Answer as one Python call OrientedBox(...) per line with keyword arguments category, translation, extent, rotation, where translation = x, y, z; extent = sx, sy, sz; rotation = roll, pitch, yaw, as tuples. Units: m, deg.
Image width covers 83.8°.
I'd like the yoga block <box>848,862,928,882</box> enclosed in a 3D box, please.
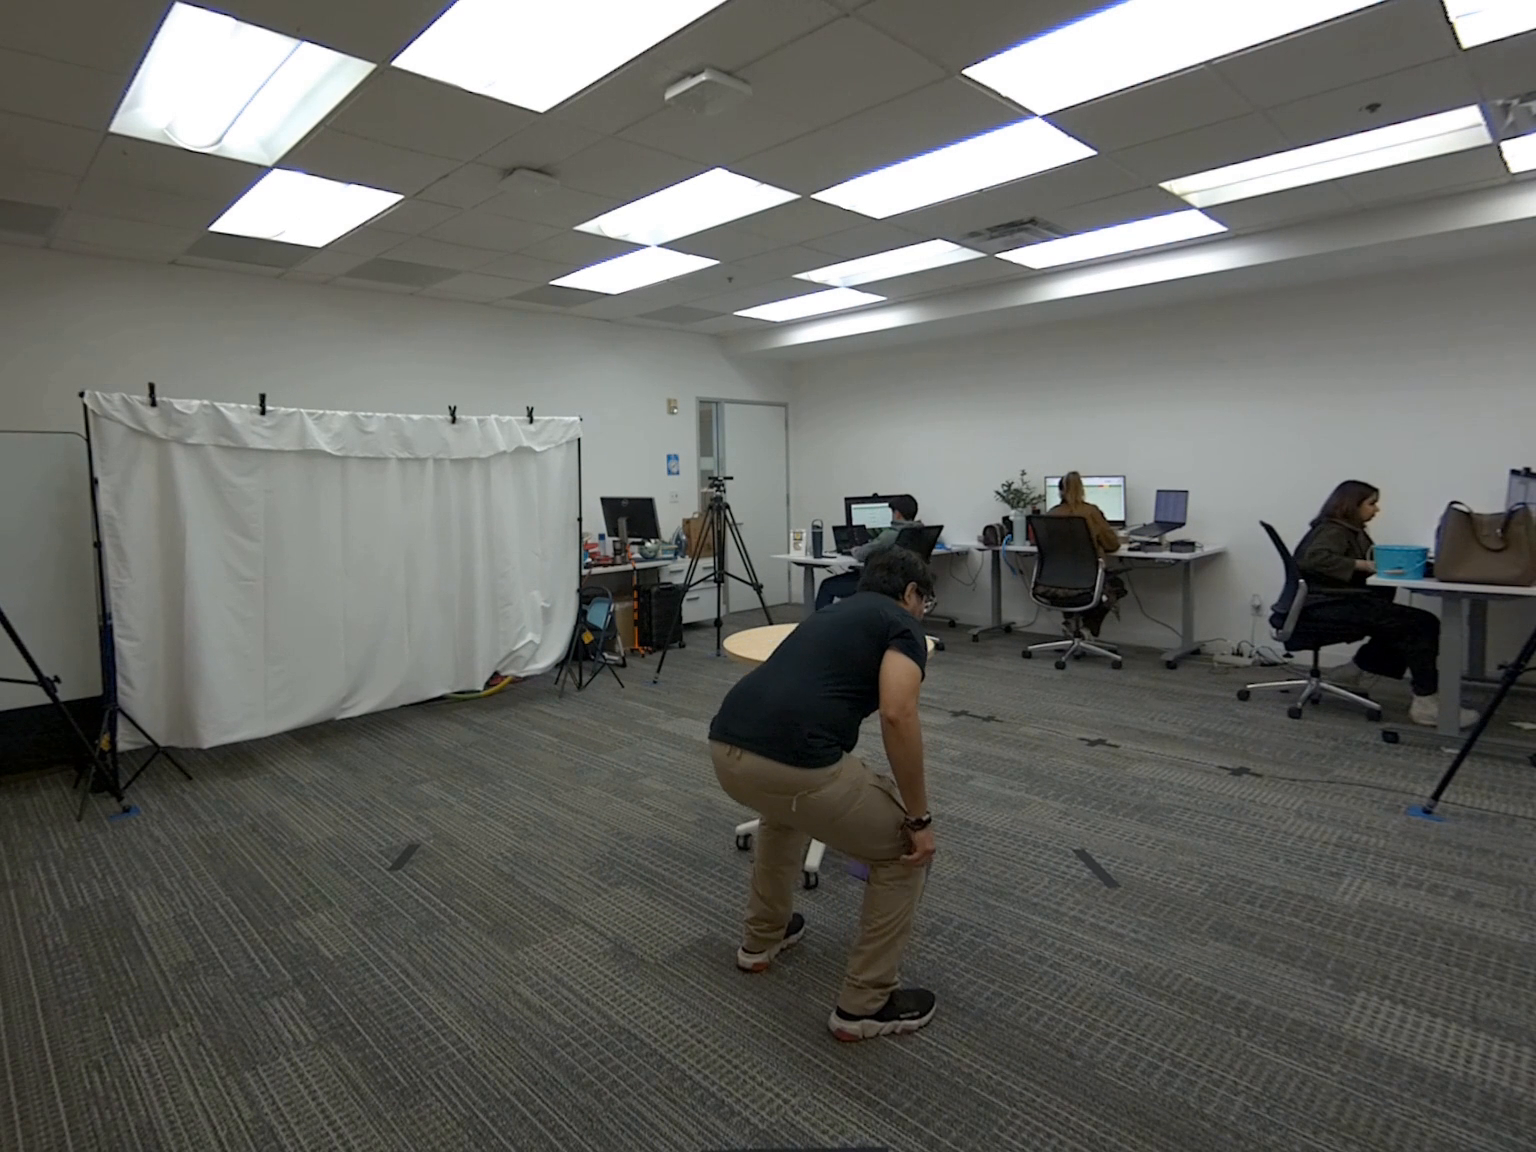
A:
OrientedBox(category="yoga block", translation=(0.406, 0.880, 2.624), extent=(0.225, 0.150, 0.077), rotation=(29, -13, -16))
